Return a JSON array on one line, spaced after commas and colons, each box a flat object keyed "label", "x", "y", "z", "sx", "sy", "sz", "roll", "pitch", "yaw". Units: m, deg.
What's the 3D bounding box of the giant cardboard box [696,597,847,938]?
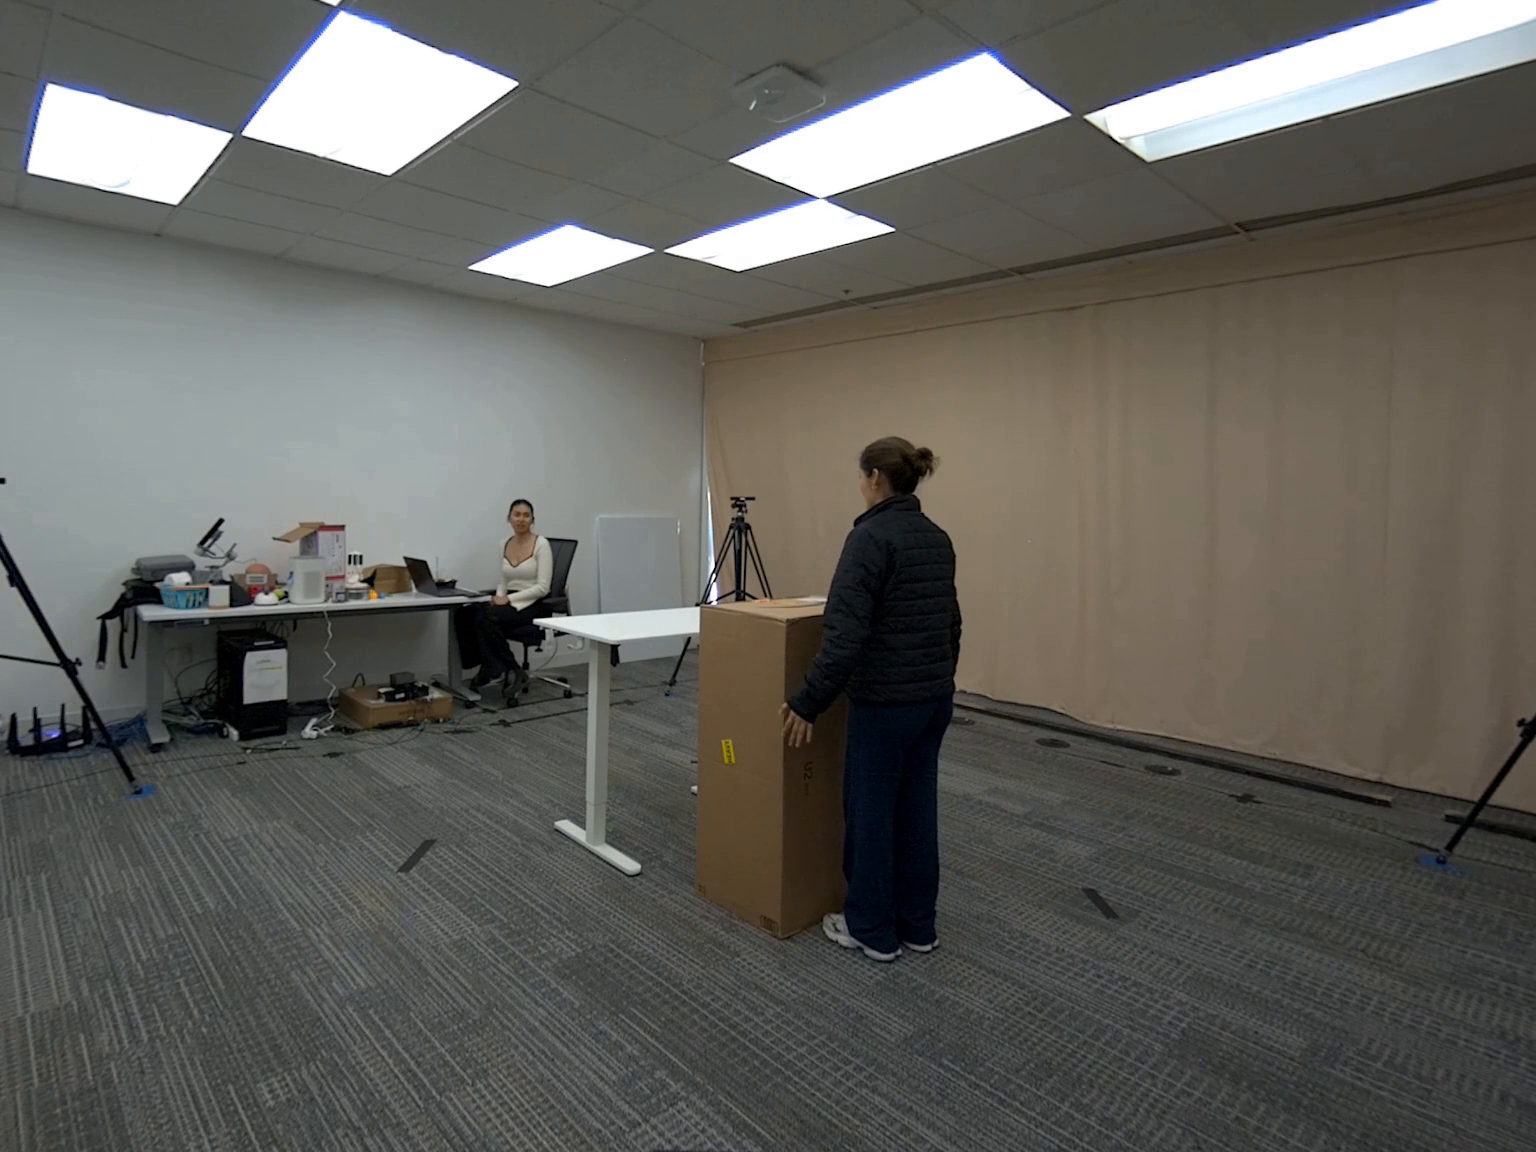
[{"label": "giant cardboard box", "x": 0.096, "y": 0.616, "z": 2.972, "sx": 0.564, "sy": 1.023, "sz": 0.437, "roll": -2, "pitch": 5, "yaw": -43}]
